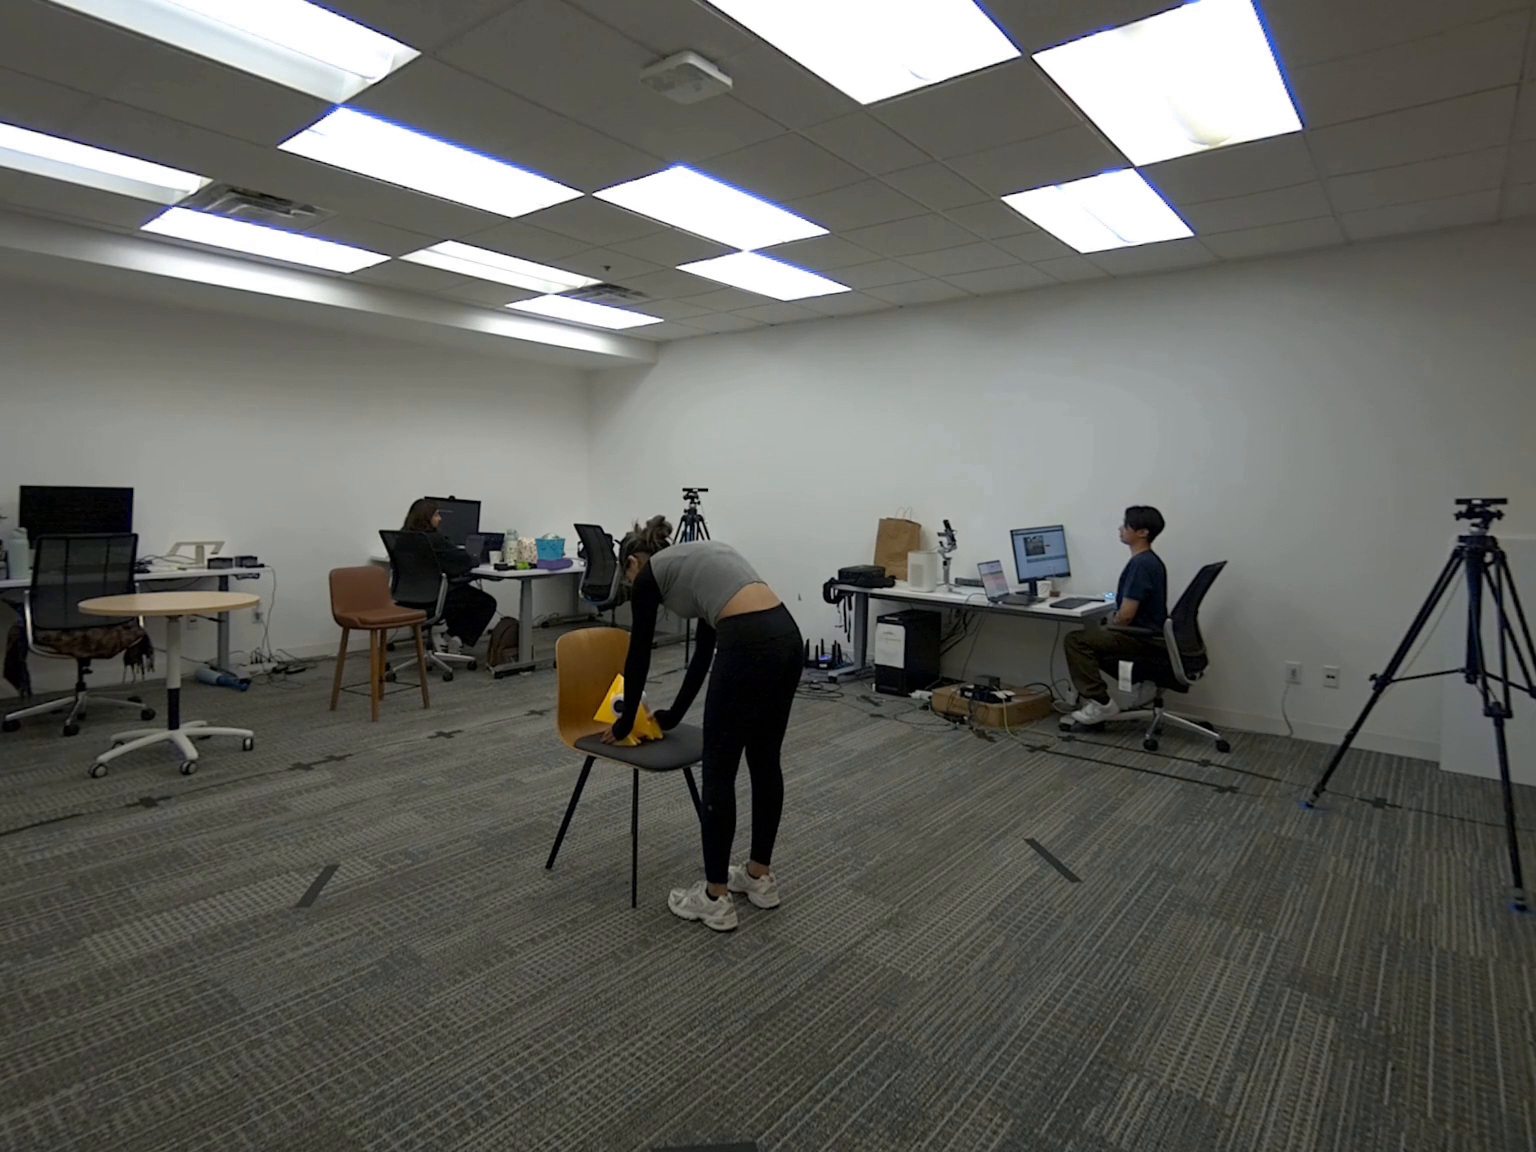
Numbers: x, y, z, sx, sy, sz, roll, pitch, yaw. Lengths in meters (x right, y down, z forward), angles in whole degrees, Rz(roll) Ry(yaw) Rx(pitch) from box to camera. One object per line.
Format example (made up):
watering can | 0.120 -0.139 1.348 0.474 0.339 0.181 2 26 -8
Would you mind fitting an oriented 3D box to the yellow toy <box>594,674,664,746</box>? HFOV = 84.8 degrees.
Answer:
yellow toy | -0.515 0.481 3.101 0.199 0.230 0.199 -2 2 41
